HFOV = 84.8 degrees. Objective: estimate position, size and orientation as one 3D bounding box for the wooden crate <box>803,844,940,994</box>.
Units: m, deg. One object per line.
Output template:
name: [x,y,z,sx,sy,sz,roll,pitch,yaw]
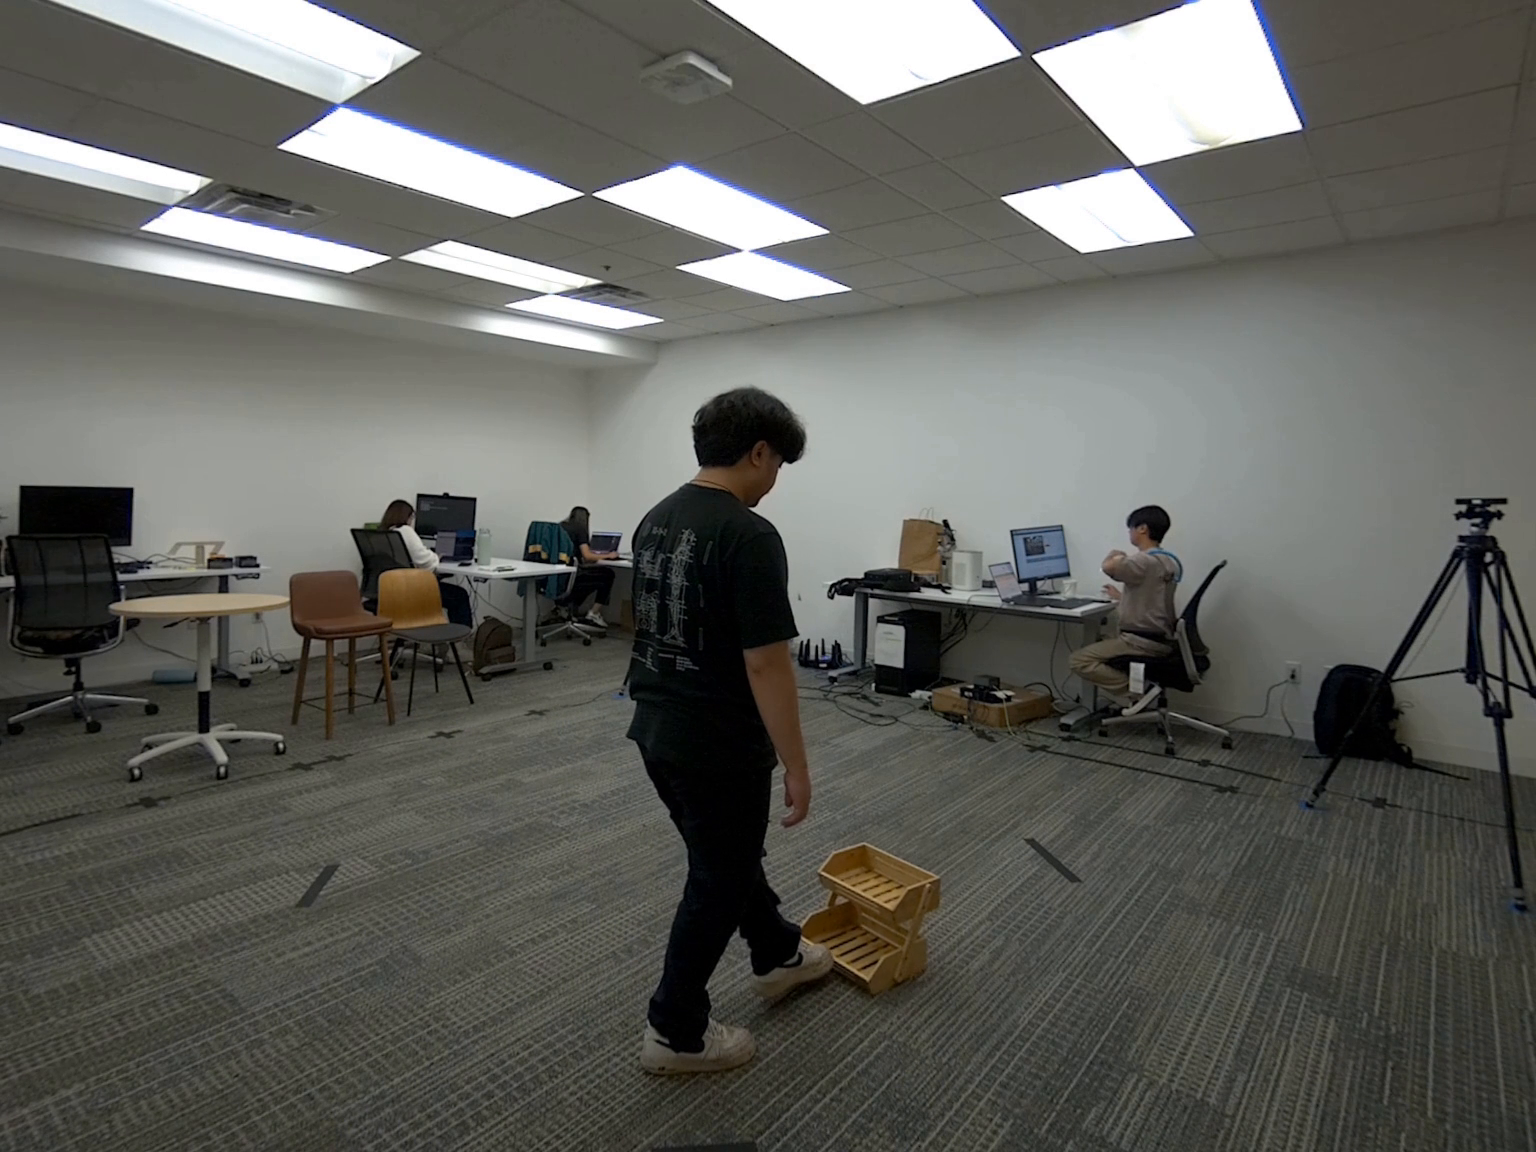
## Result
wooden crate: [0.282,1.004,2.536,0.293,0.272,0.335,-1,5,-40]
